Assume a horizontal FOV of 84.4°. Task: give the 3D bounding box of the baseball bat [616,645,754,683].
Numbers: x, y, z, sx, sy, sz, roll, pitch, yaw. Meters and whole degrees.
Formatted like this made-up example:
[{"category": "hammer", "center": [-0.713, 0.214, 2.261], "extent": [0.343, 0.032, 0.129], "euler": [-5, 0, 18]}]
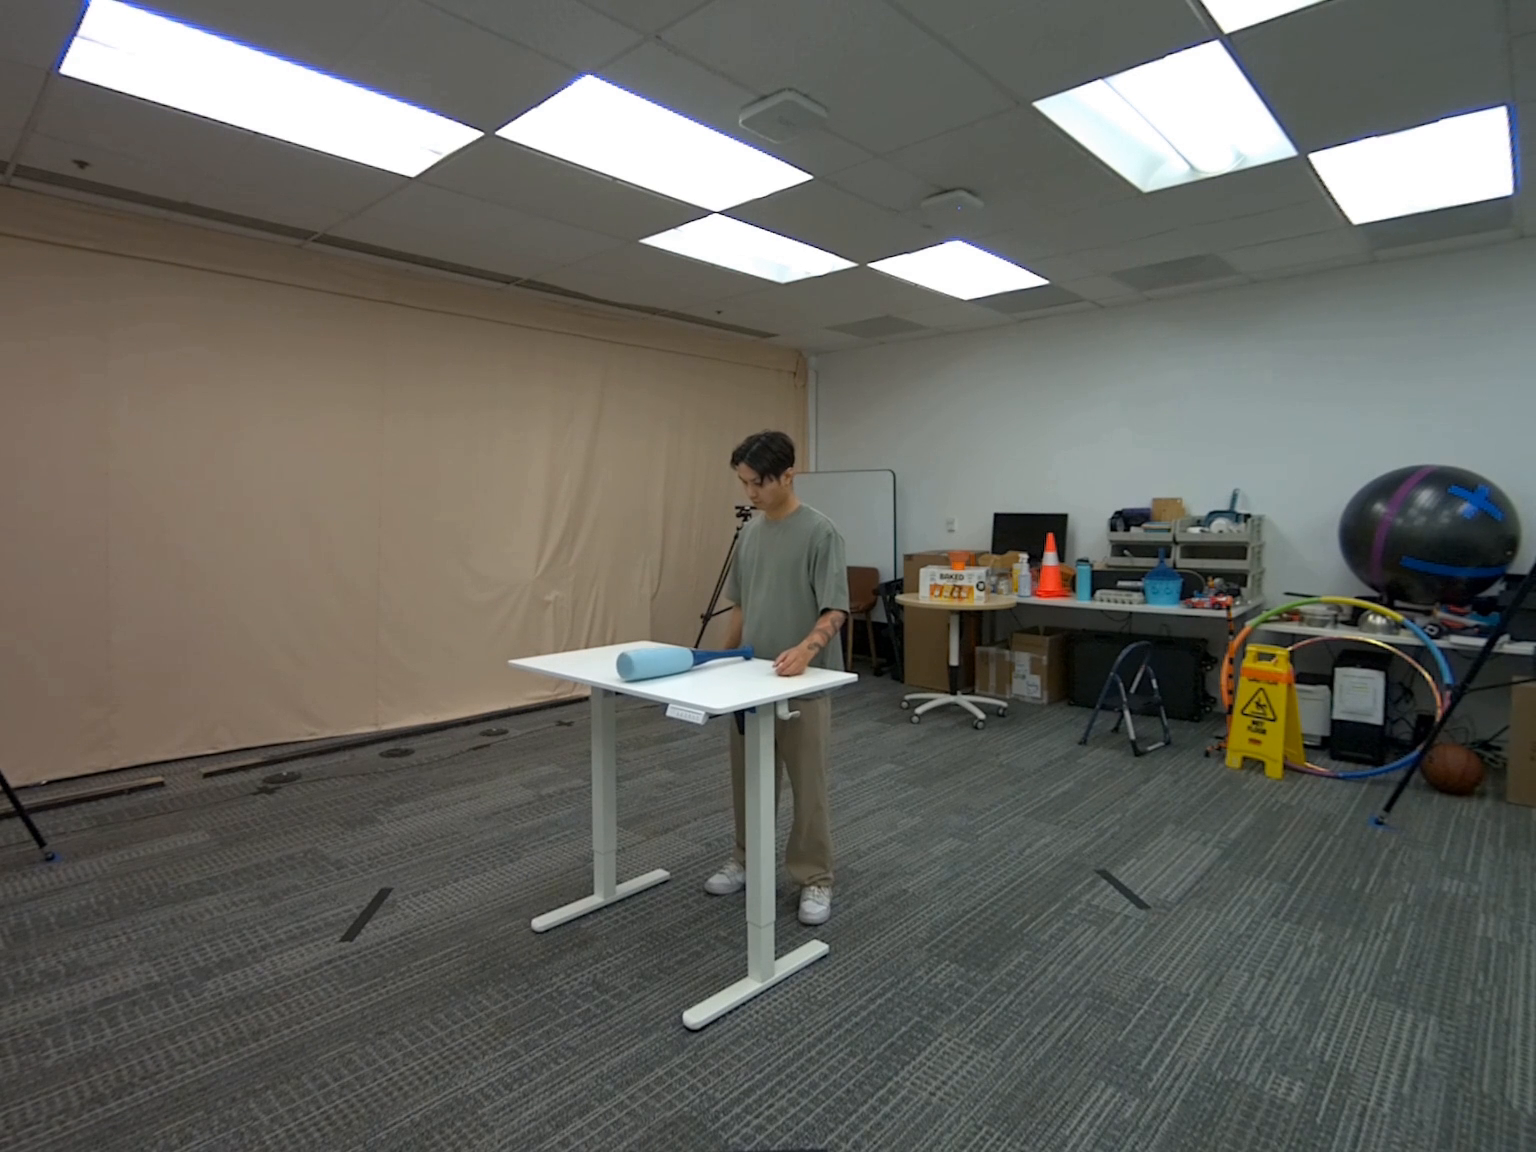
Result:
[{"category": "baseball bat", "center": [-0.240, 0.261, 2.614], "extent": [0.092, 0.089, 0.525], "euler": [3, 2, 42]}]
